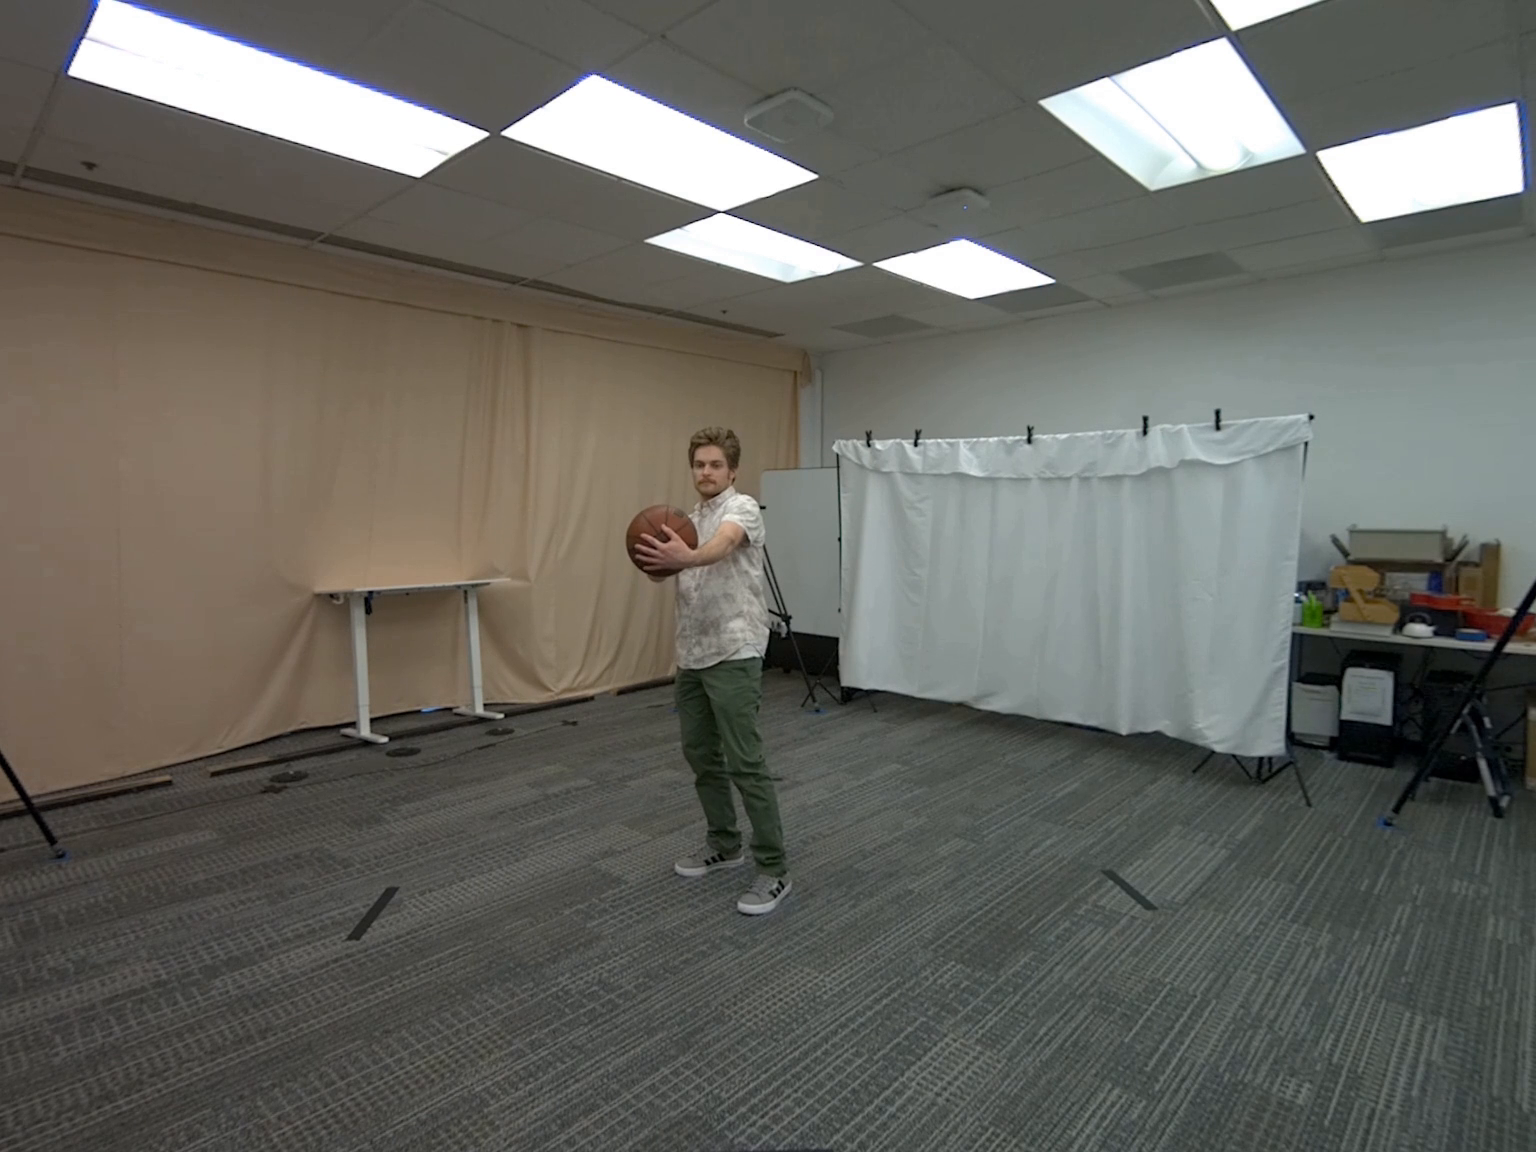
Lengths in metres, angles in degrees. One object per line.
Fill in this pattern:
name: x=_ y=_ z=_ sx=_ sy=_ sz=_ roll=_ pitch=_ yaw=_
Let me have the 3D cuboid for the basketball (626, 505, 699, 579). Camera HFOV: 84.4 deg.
basketball: x=-0.353 y=-0.115 z=2.772 sx=0.236 sy=0.235 sz=0.237 roll=0 pitch=4 yaw=-2
